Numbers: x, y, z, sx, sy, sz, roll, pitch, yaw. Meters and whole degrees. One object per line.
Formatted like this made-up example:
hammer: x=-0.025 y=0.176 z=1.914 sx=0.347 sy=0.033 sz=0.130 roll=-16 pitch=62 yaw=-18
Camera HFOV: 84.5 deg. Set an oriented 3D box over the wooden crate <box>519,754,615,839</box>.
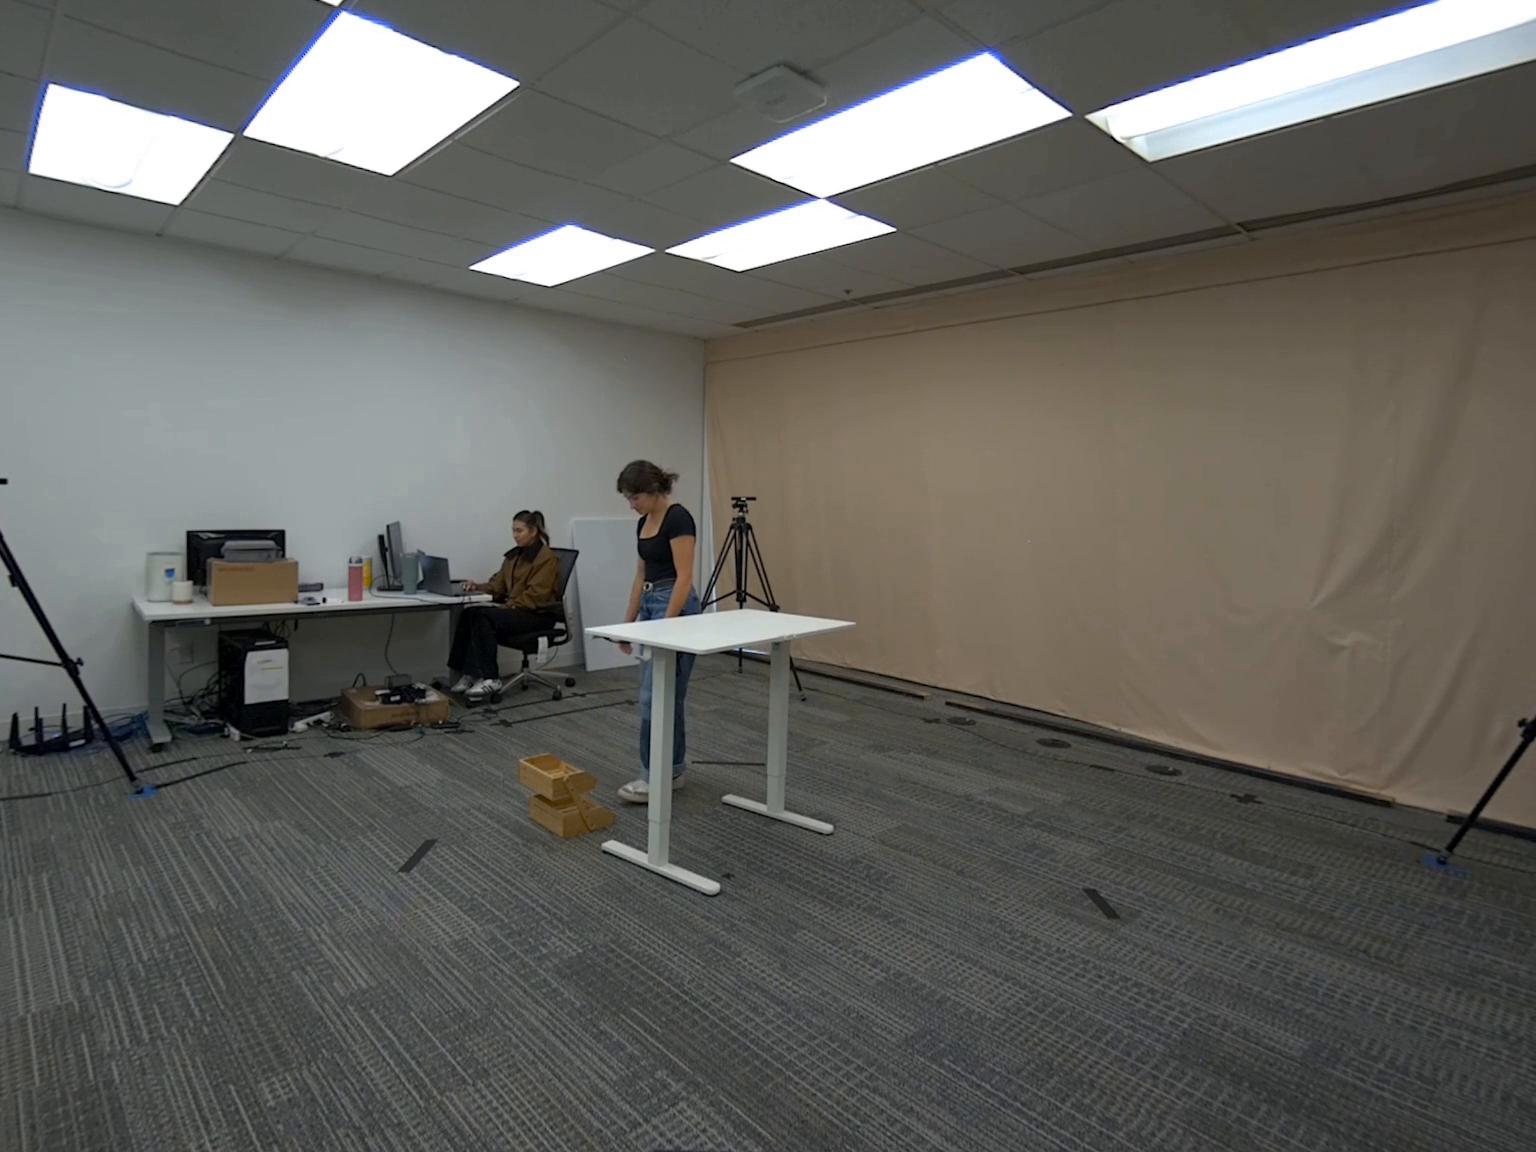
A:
wooden crate: x=-0.867 y=0.916 z=3.579 sx=0.295 sy=0.272 sz=0.333 roll=-3 pitch=6 yaw=-42
